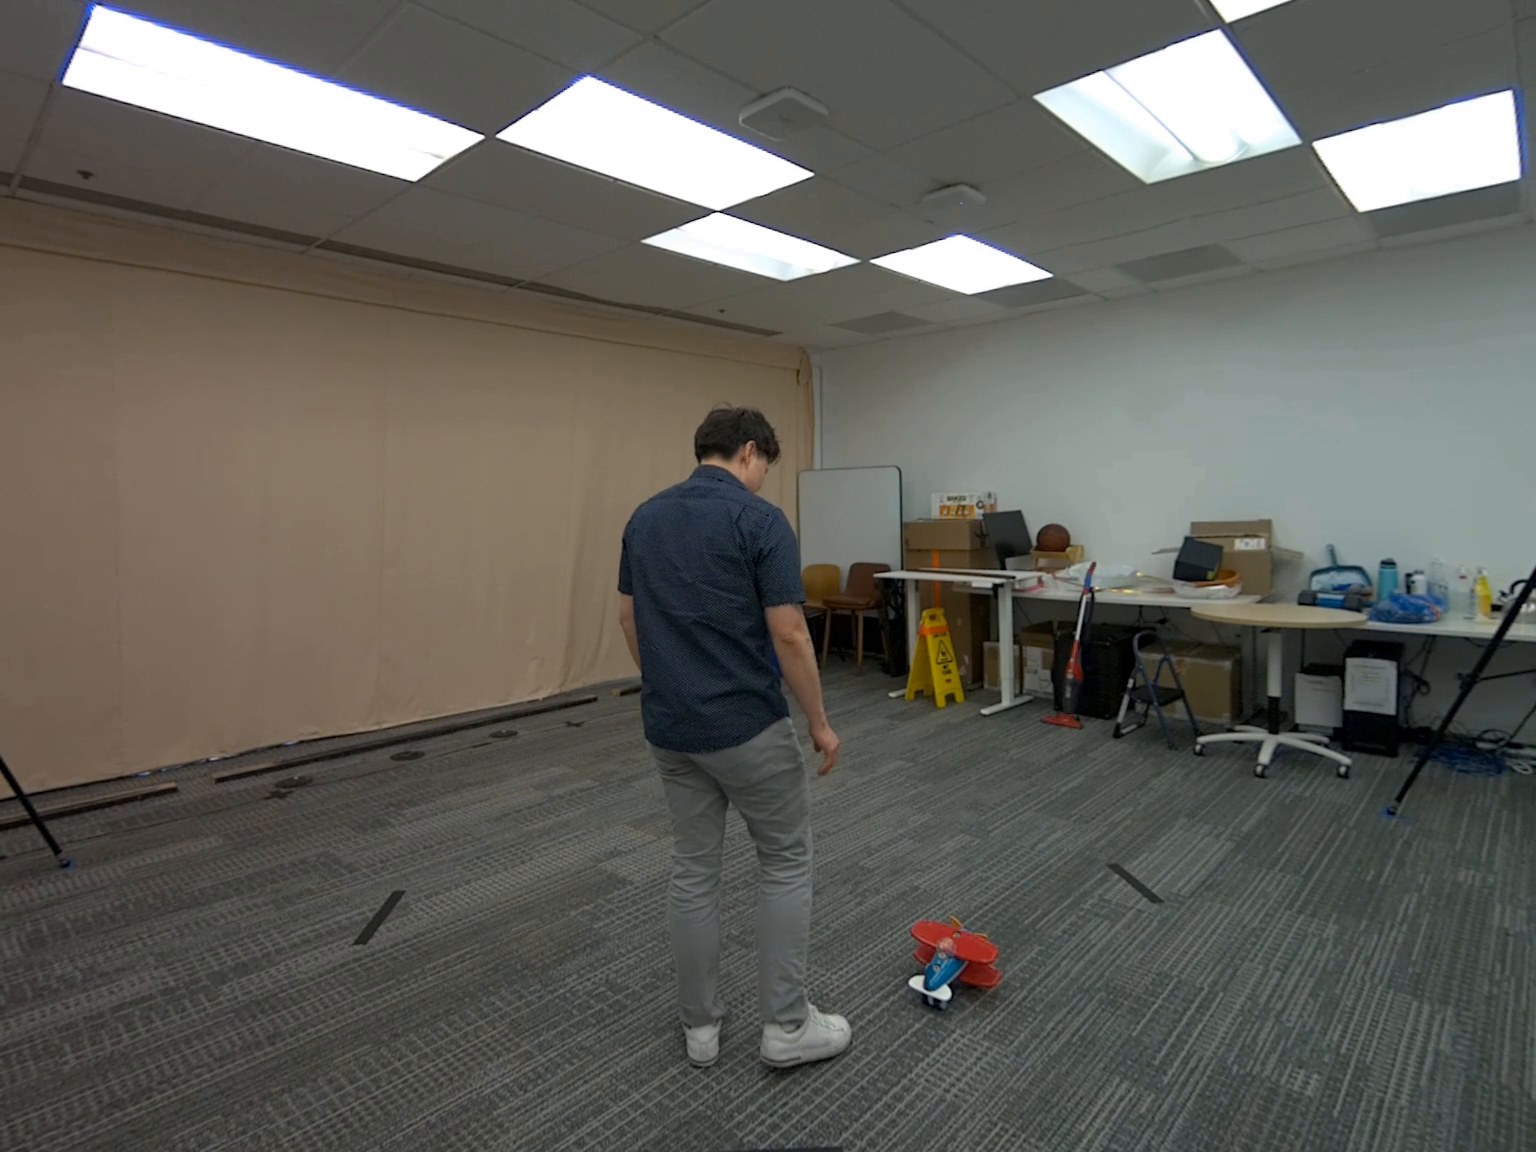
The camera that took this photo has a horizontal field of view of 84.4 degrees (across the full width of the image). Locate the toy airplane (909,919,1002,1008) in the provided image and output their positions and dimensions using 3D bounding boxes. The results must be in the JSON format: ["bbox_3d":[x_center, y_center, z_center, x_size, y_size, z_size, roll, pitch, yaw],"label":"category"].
[{"bbox_3d":[0.535,1.107,2.380,0.255,0.156,0.256,1,4,13],"label":"toy airplane"}]
